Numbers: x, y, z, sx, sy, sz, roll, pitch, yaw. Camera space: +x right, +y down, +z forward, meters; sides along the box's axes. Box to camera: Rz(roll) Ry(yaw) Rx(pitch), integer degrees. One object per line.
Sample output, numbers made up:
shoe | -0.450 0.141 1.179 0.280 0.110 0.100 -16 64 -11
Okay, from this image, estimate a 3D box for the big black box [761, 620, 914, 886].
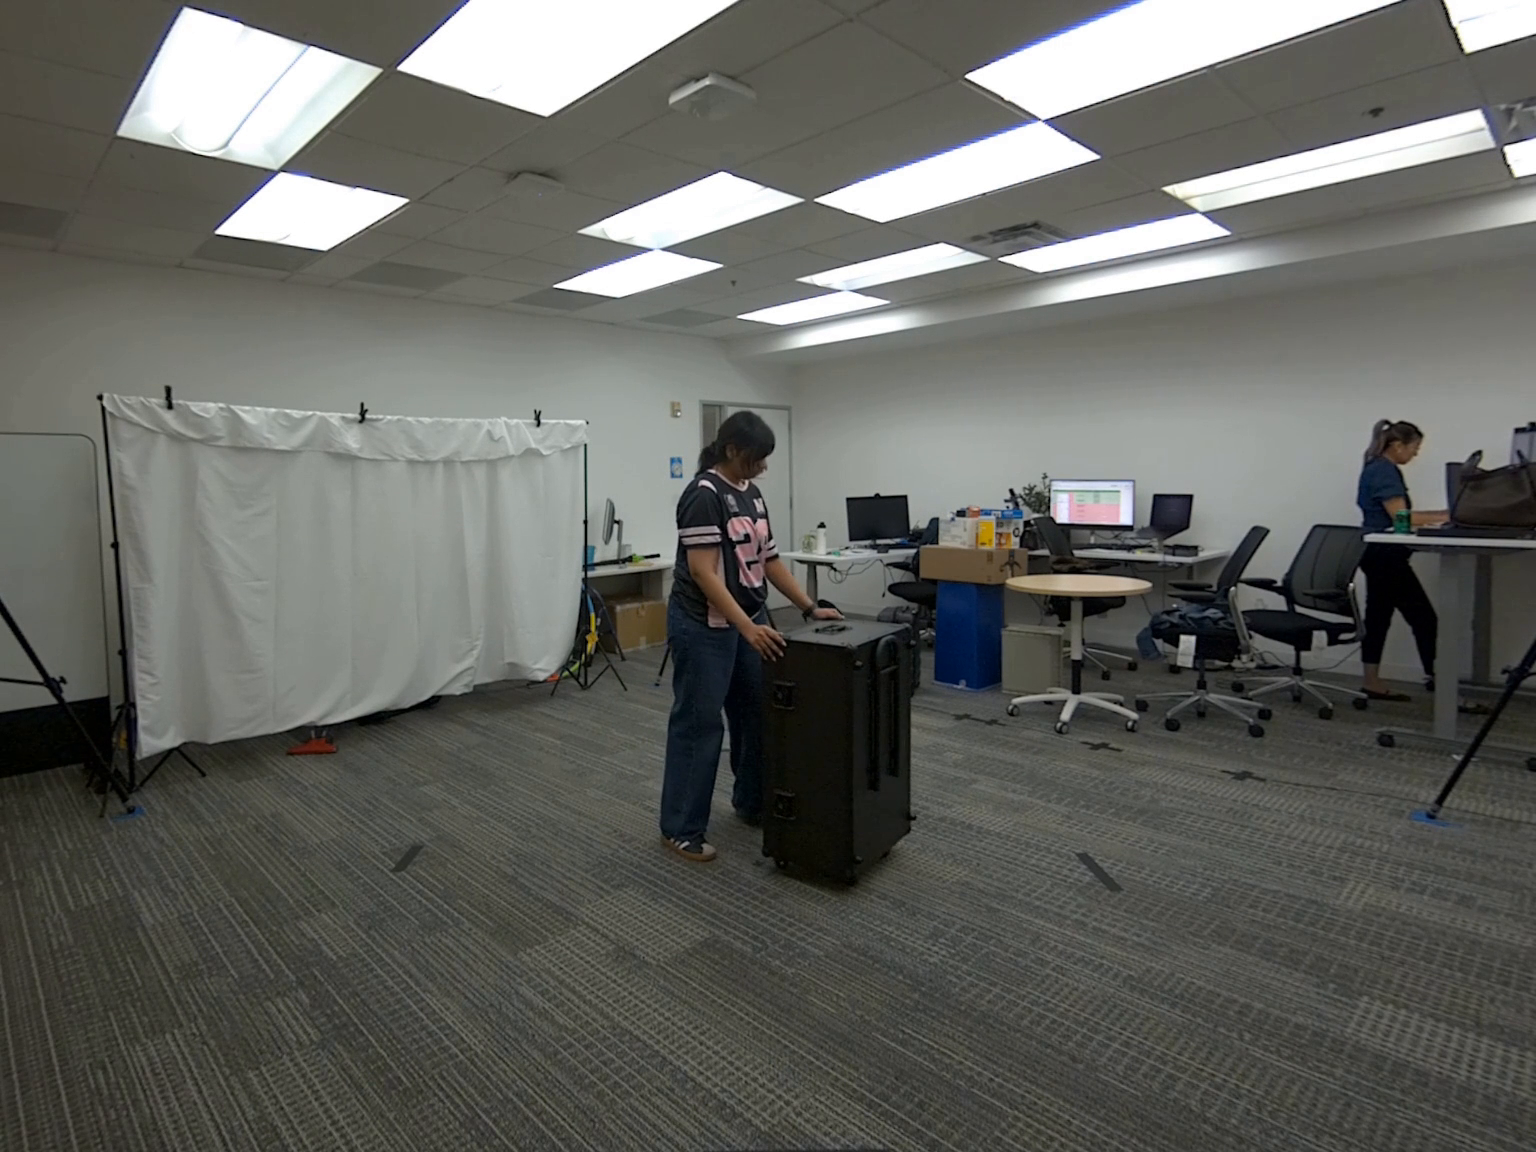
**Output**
big black box | 0.272 0.621 3.075 0.407 0.858 0.509 3 6 33
